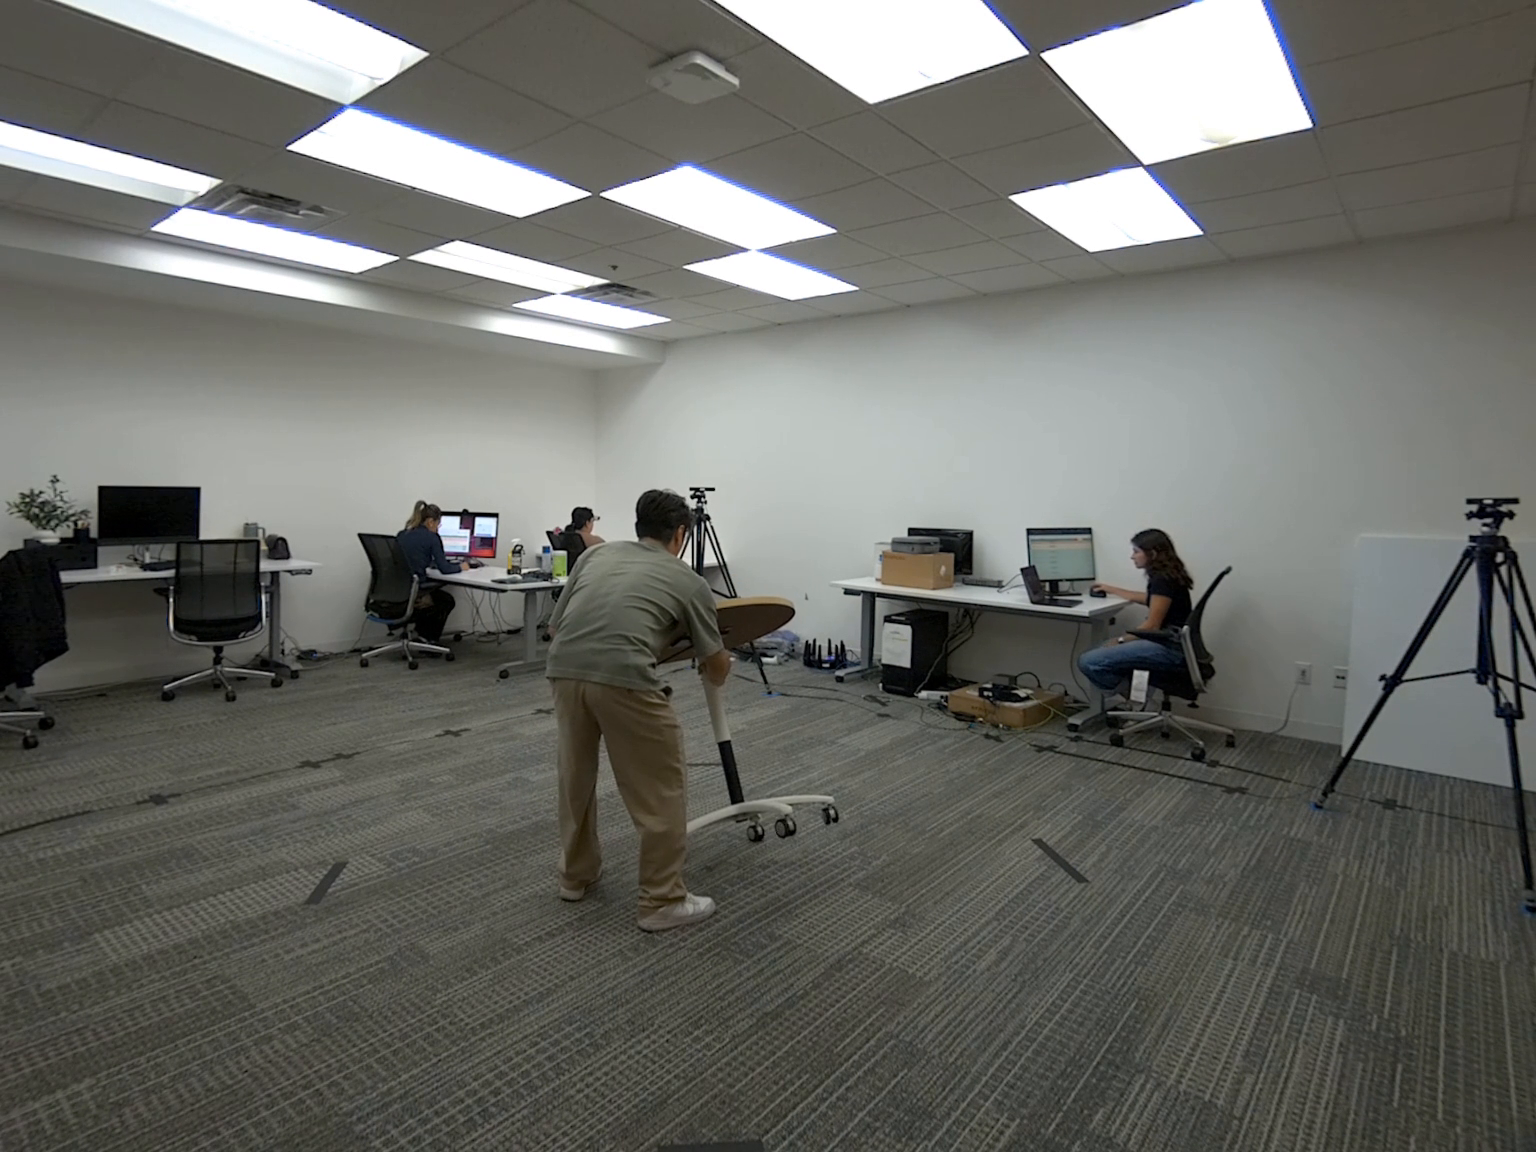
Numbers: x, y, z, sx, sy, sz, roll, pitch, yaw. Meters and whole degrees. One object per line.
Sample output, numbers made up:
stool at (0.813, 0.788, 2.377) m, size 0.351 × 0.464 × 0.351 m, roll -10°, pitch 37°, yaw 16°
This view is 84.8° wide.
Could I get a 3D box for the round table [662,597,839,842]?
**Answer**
round table at (-0.188, 0.586, 3.178) m, size 0.782 × 0.803 × 0.772 m, roll -12°, pitch -17°, yaw -6°
